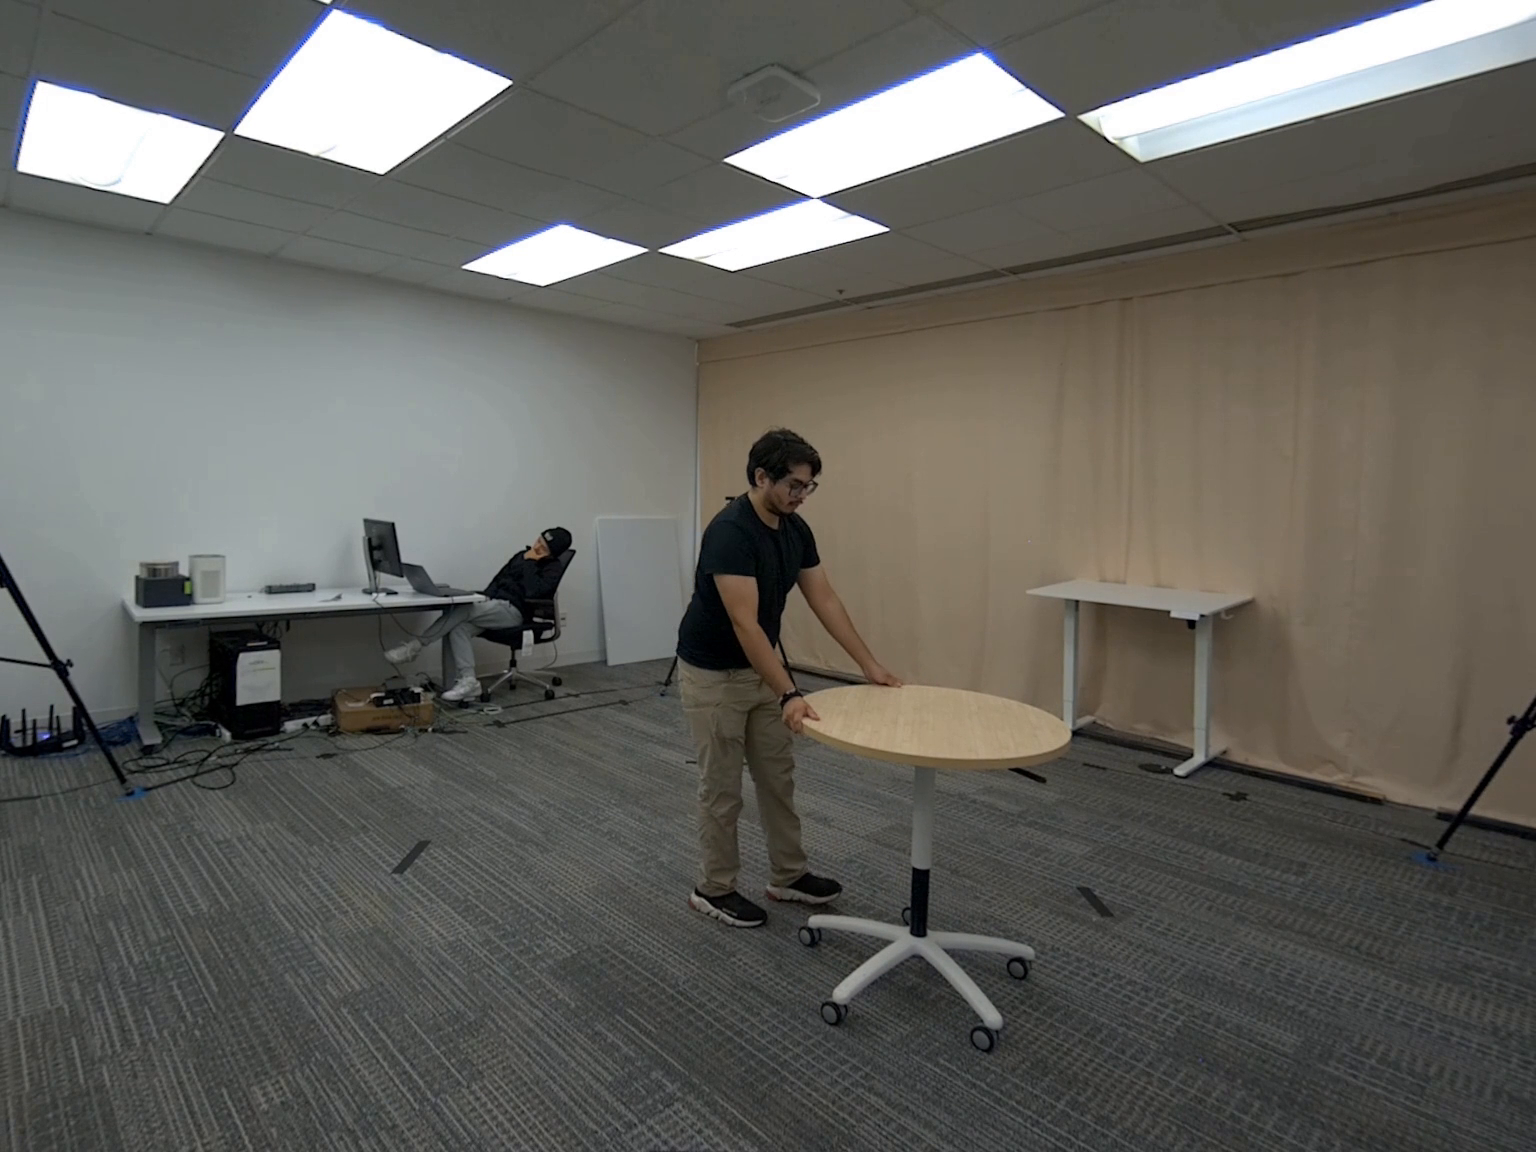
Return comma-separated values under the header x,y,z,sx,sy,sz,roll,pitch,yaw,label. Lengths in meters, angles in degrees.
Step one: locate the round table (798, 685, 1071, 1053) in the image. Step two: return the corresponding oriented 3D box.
x,y,z,sx,sy,sz,roll,pitch,yaw,label
0.442,0.786,2.444,0.784,0.784,0.788,2,5,-2,round table
